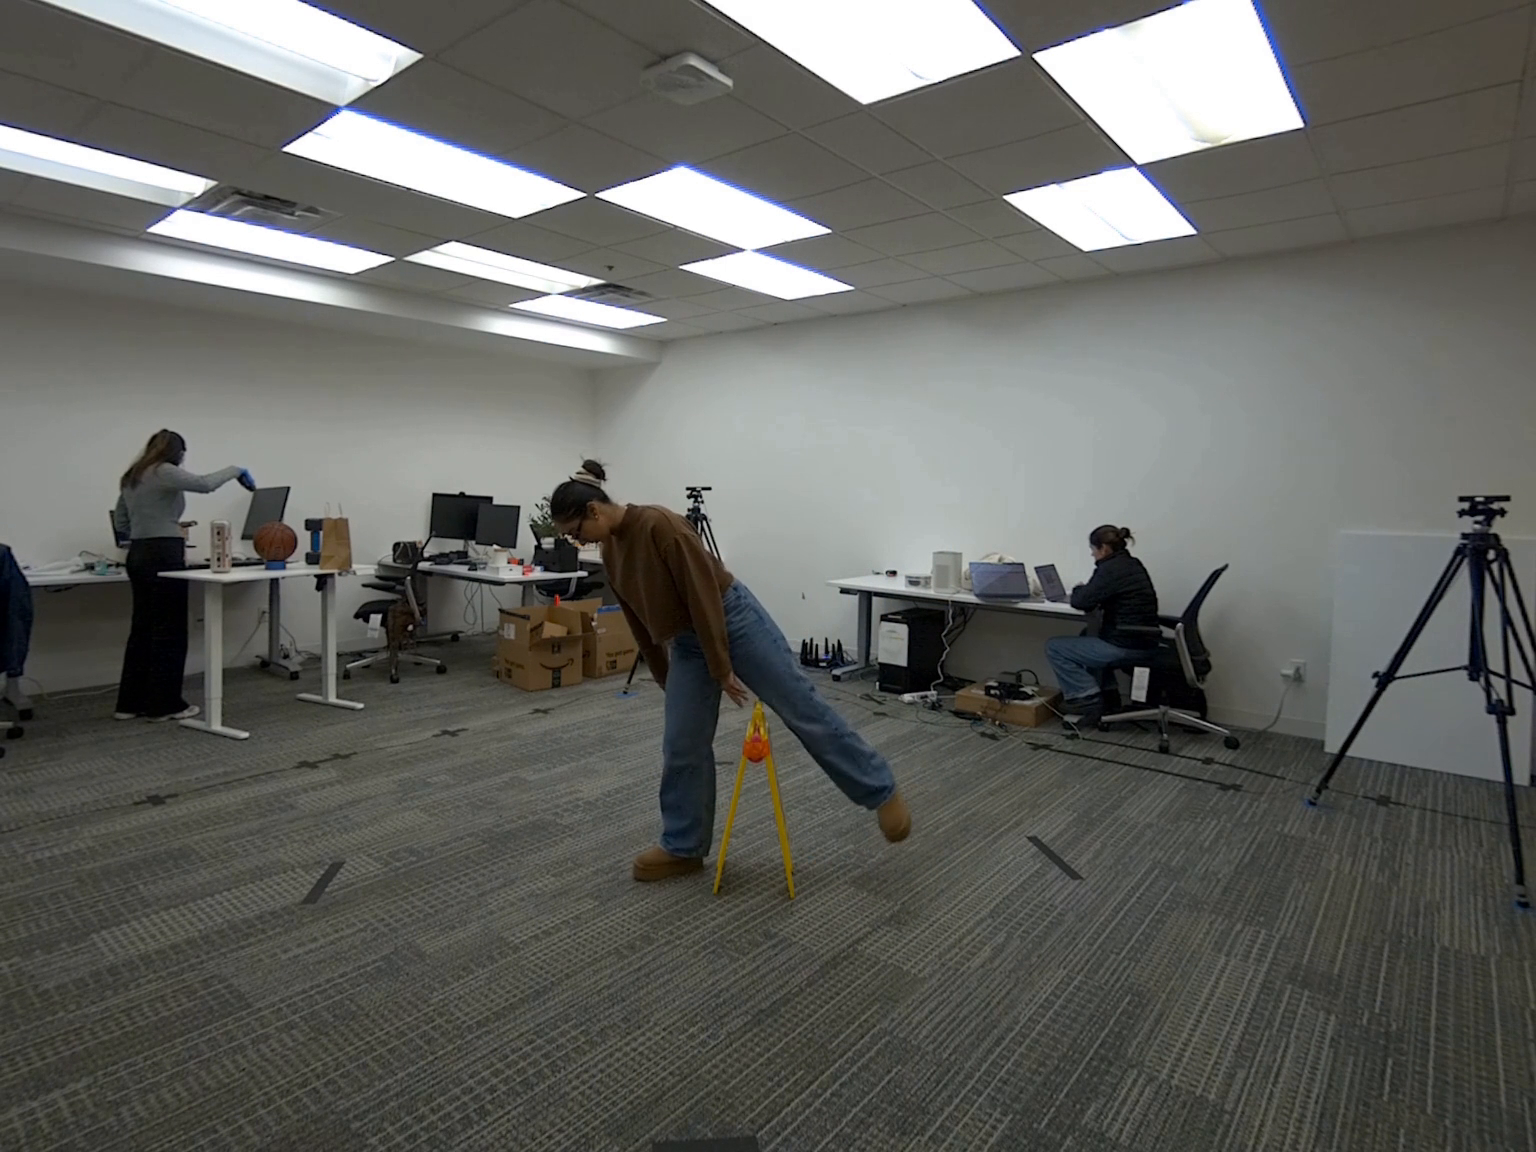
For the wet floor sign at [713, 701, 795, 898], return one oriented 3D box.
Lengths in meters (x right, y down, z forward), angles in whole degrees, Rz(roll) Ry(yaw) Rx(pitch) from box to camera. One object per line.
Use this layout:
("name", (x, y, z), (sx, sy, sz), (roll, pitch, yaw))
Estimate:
("wet floor sign", (-0.043, 0.764, 3.018), (0.291, 0.644, 0.282), (2, 4, 3))
